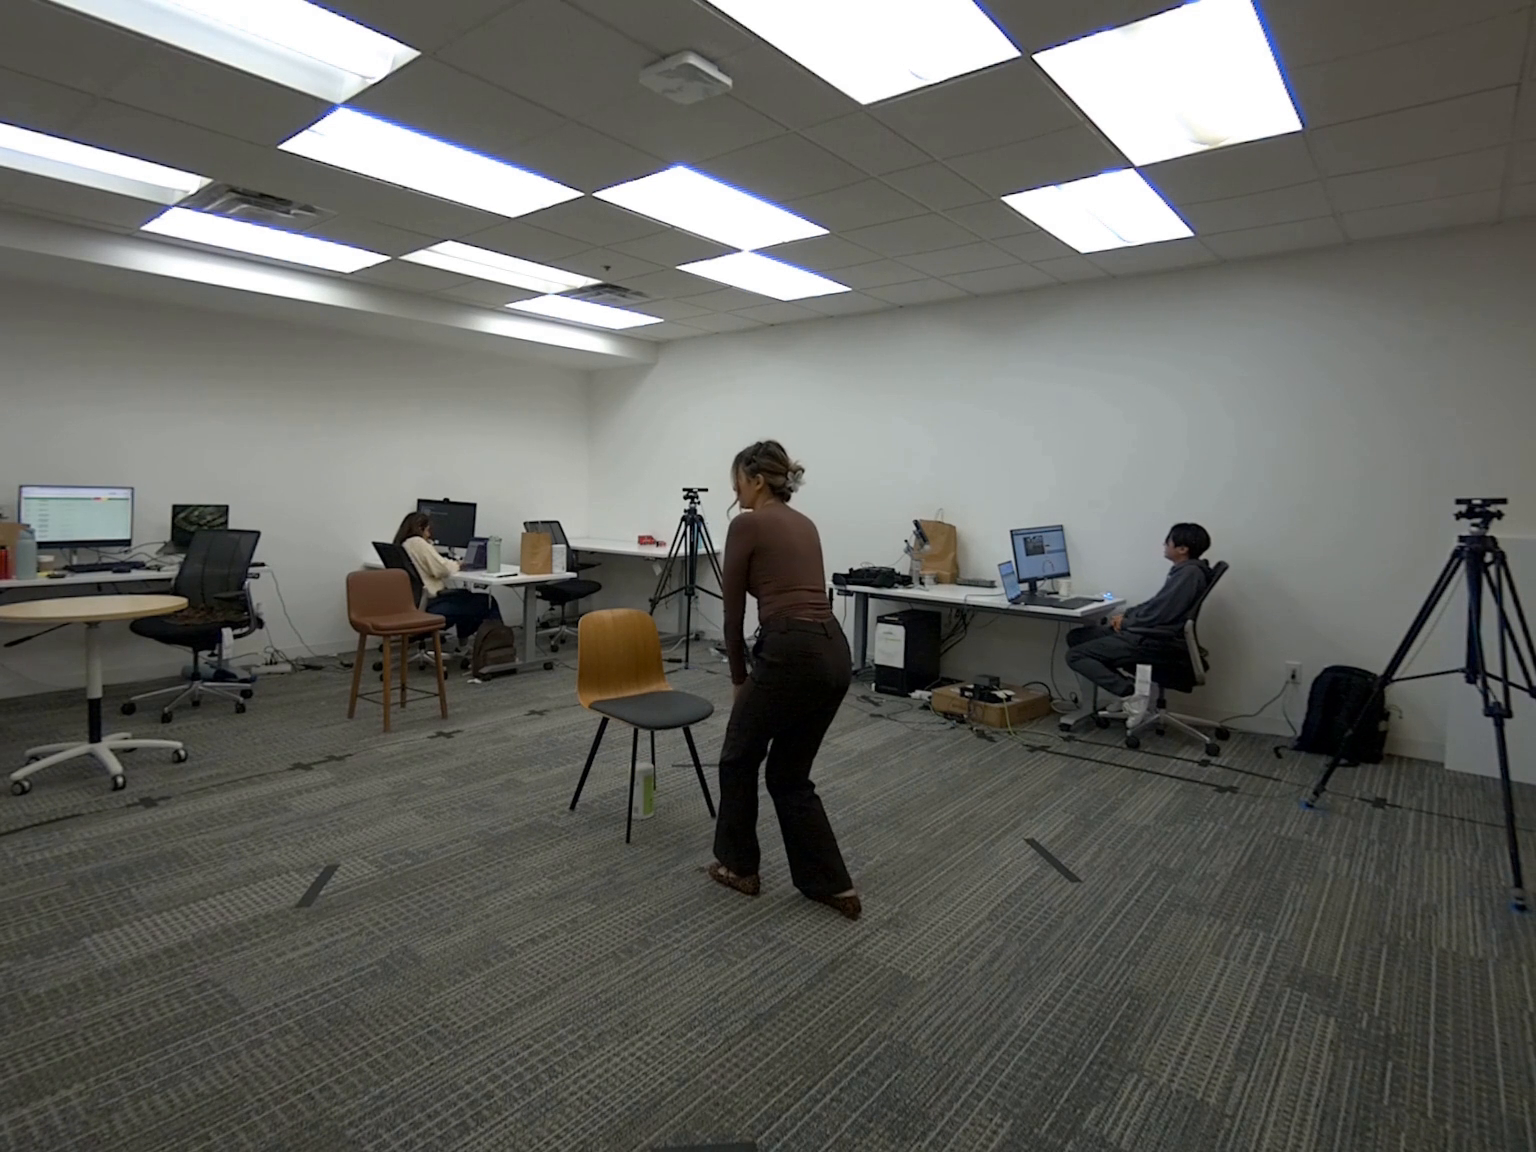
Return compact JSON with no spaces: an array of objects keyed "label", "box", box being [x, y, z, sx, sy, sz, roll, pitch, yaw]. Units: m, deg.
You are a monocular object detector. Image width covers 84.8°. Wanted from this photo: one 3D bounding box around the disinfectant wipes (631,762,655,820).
[{"label":"disinfectant wipes","box":[-0.550,0.916,3.617,0.117,0.216,0.118,2,5,-2]}]
